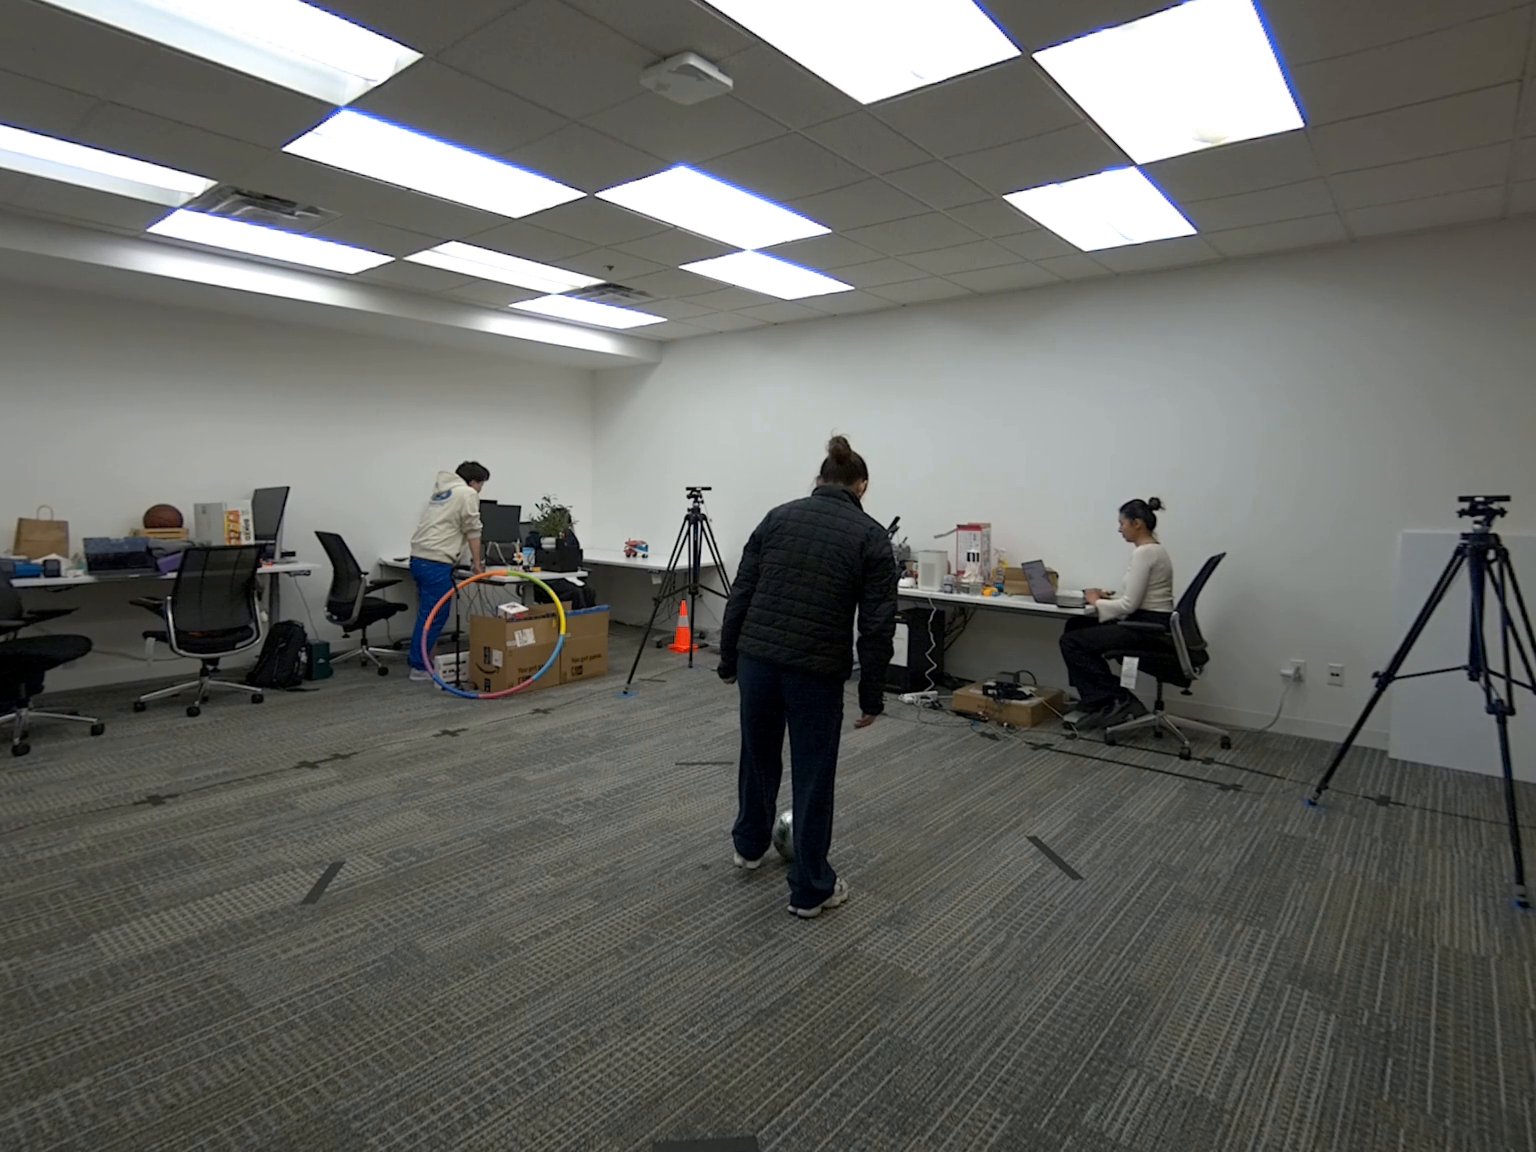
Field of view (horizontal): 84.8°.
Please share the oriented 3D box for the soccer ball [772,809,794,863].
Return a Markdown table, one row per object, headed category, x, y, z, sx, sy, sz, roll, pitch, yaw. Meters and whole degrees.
| category | x | y | z | sx | sy | sz | roll | pitch | yaw |
| --- | --- | --- | --- | --- | --- | --- | --- | --- | --- |
| soccer ball | 0.098 | 0.970 | 3.194 | 0.187 | 0.187 | 0.188 | 1 | 4 | -2 |
